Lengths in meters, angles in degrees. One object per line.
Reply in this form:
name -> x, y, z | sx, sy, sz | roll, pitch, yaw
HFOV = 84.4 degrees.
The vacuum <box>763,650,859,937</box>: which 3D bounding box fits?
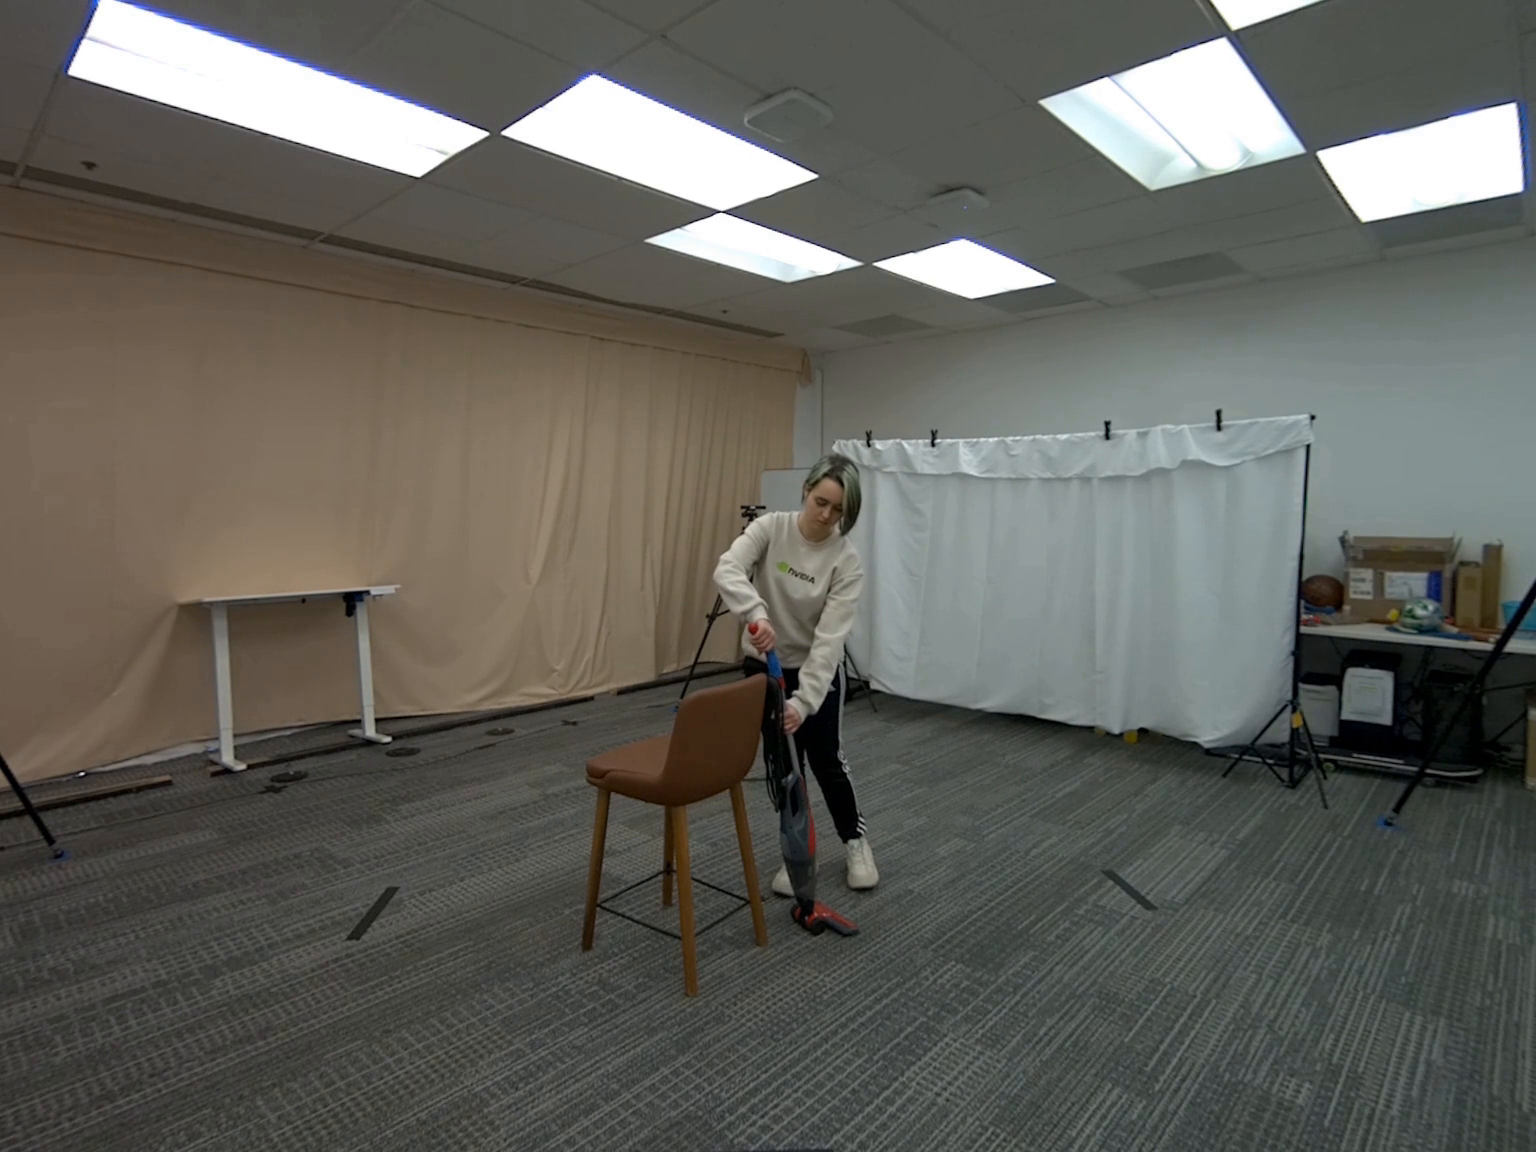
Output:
vacuum -> 0.066, 0.656, 2.724 | 0.140, 1.041, 0.260 | -19, 12, -37
